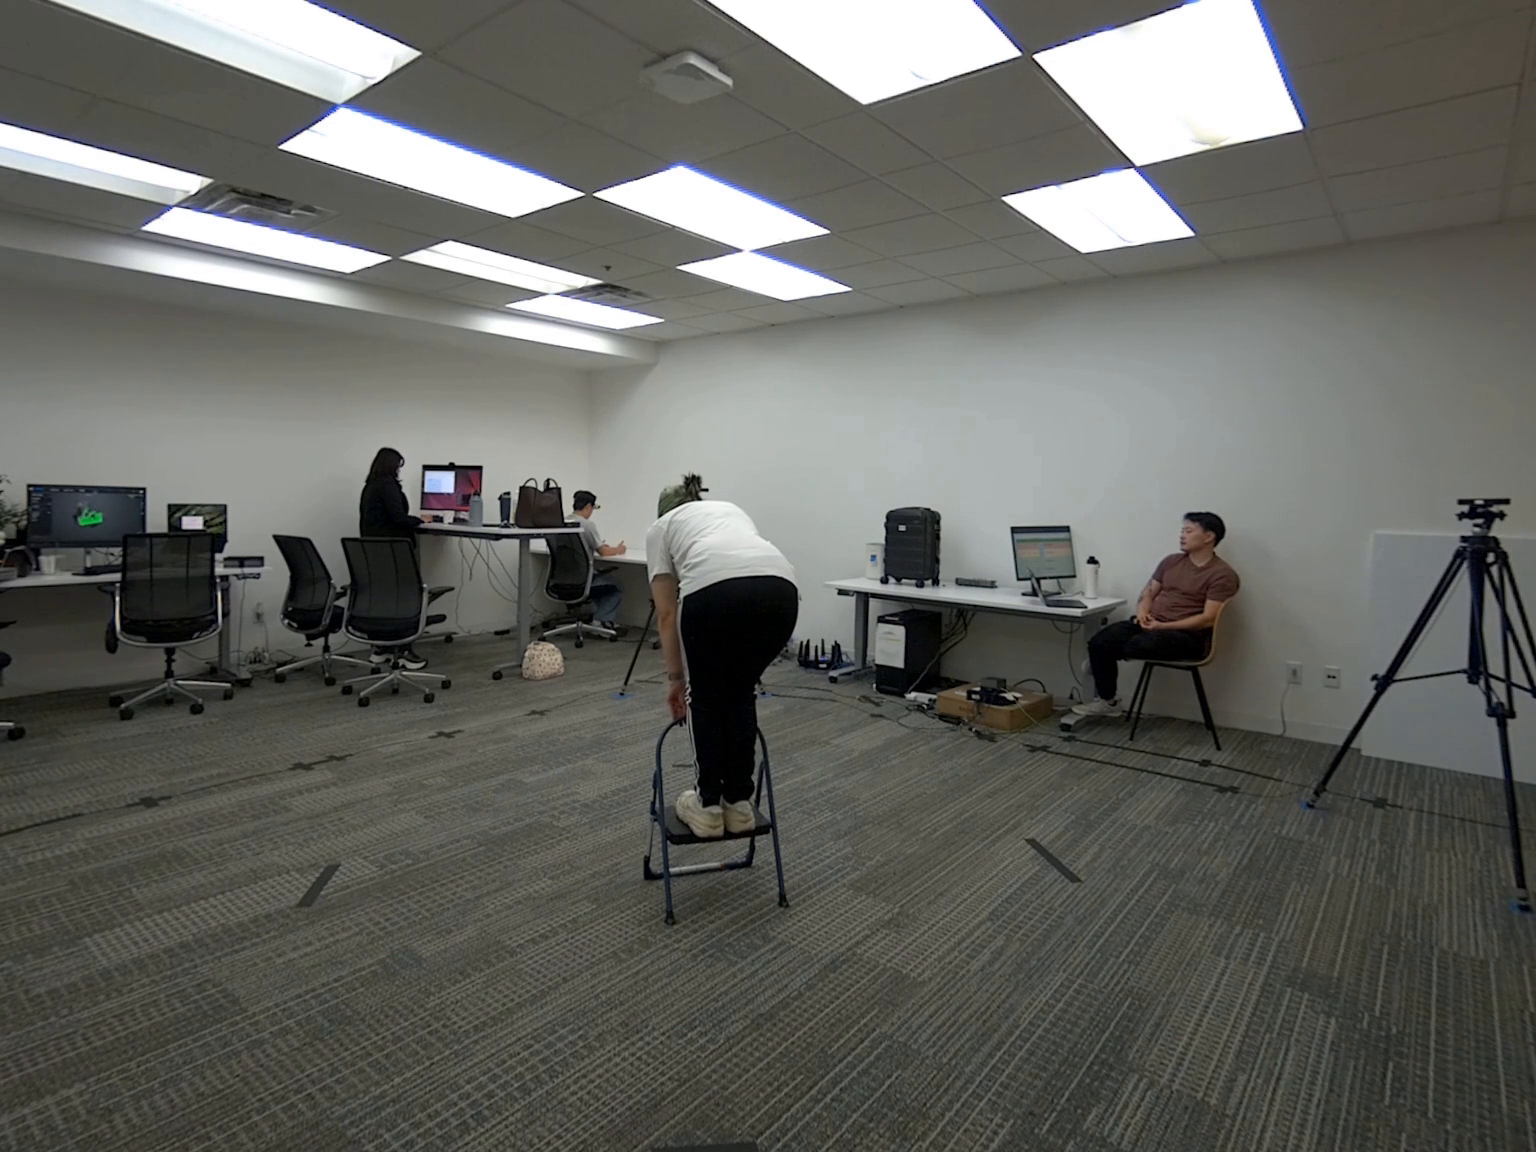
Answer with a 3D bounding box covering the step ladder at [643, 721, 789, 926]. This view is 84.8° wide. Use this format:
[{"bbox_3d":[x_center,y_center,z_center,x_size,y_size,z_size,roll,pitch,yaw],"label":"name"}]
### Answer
[{"bbox_3d":[-0.194,0.791,2.923,0.421,0.604,0.358,0,4,-22],"label":"step ladder"}]
